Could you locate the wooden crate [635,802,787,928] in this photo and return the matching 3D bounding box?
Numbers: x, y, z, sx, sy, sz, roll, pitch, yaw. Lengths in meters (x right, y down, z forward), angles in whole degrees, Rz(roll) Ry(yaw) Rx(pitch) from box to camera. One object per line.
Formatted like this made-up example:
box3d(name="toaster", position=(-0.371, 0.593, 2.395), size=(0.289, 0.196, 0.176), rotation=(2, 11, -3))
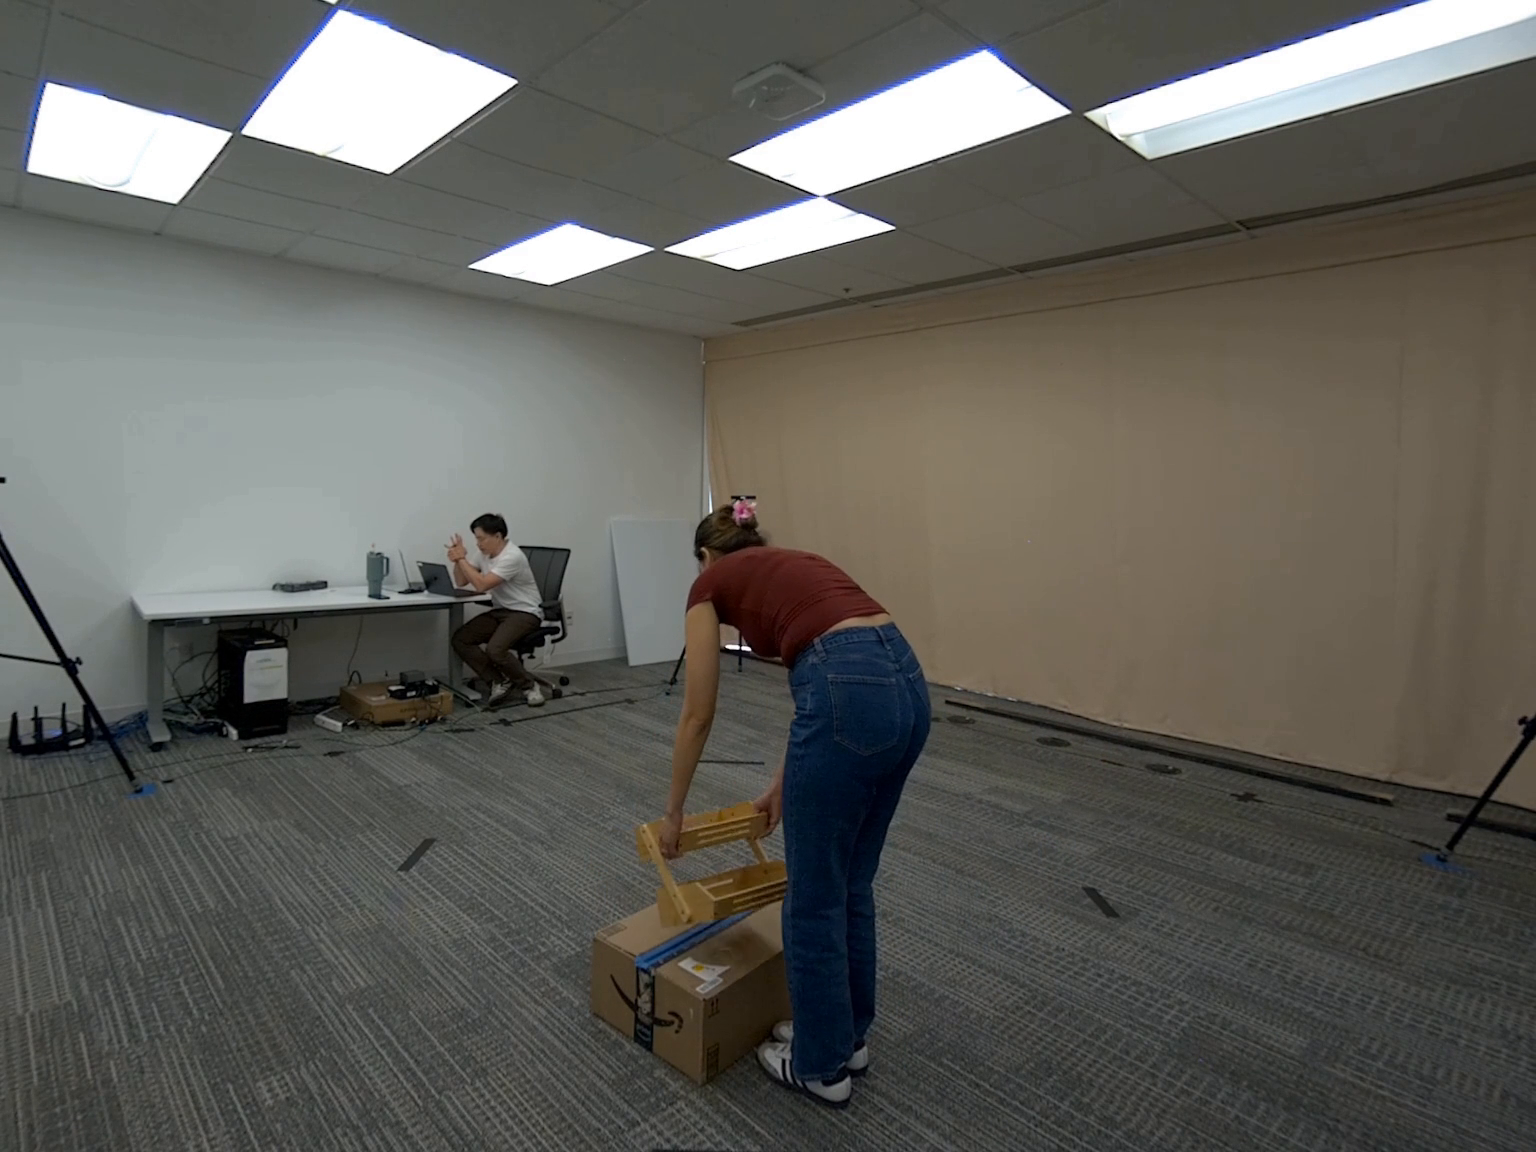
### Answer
box3d(name="wooden crate", position=(-0.134, 0.743, 2.224), size=(0.317, 0.278, 0.304), rotation=(2, -23, -40))
